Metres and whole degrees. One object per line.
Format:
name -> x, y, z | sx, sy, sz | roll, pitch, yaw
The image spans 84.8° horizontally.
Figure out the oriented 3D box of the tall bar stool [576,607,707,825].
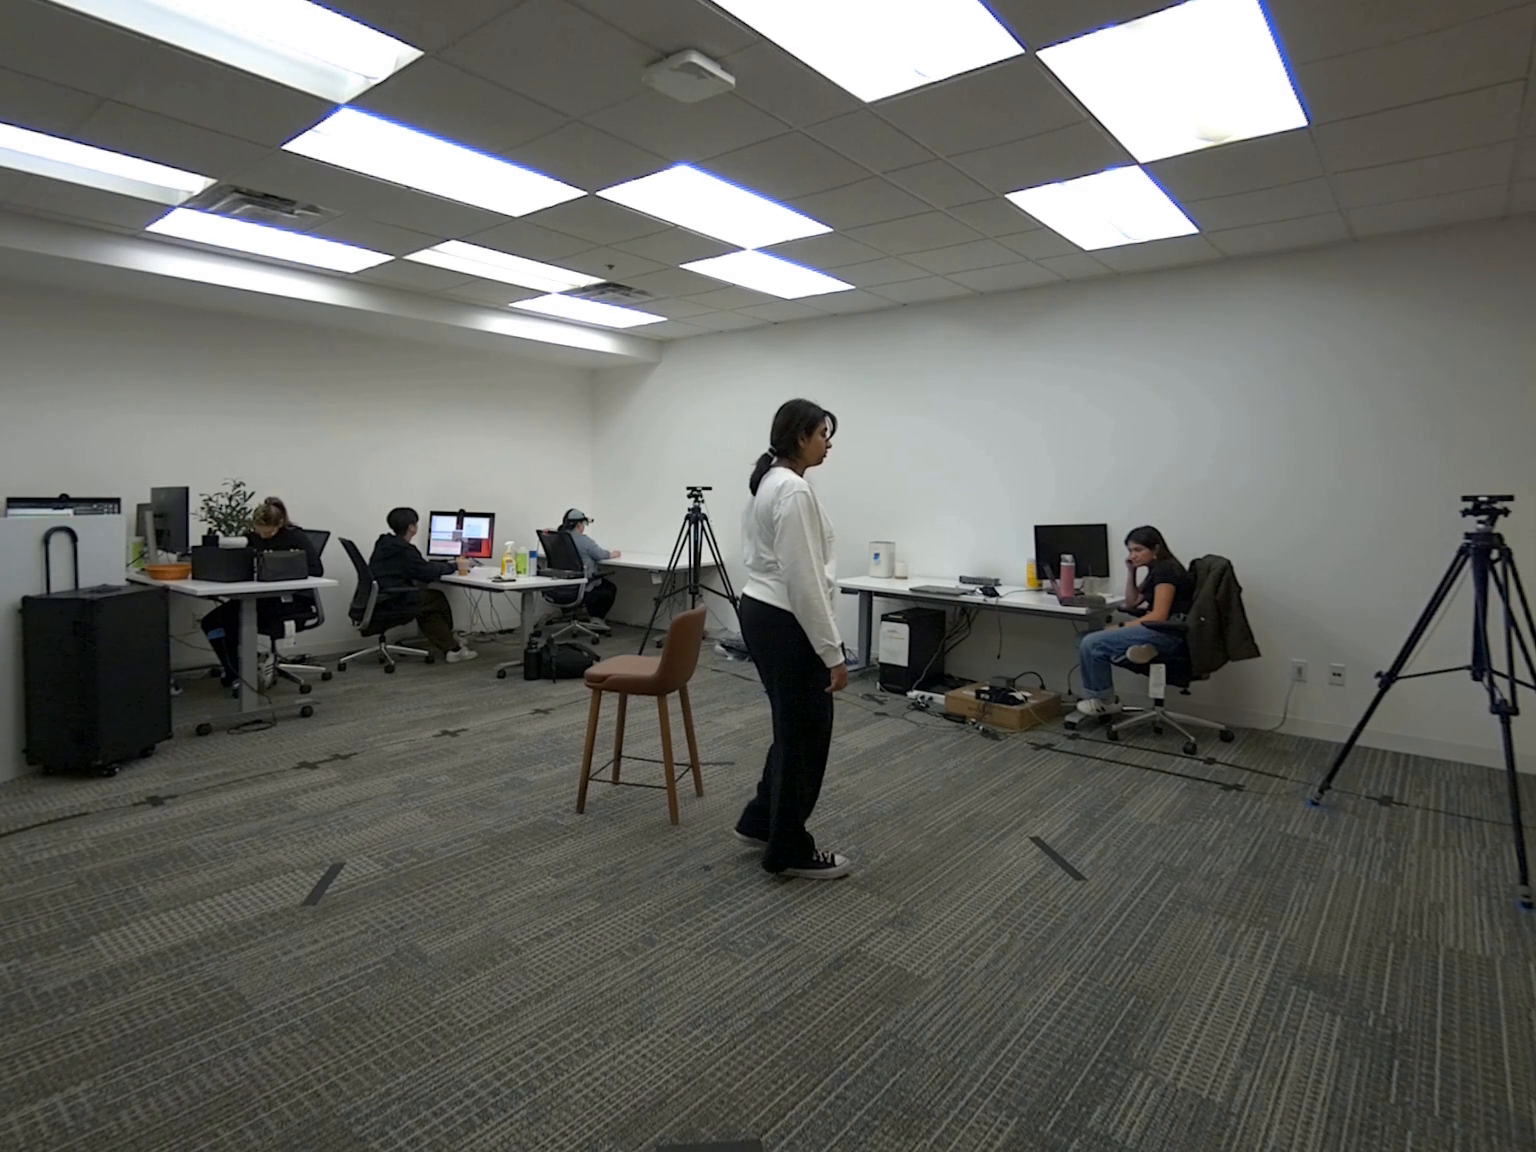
tall bar stool -> -0.543, 0.564, 3.721 | 0.476, 0.887, 0.449 | 3, 4, 16
